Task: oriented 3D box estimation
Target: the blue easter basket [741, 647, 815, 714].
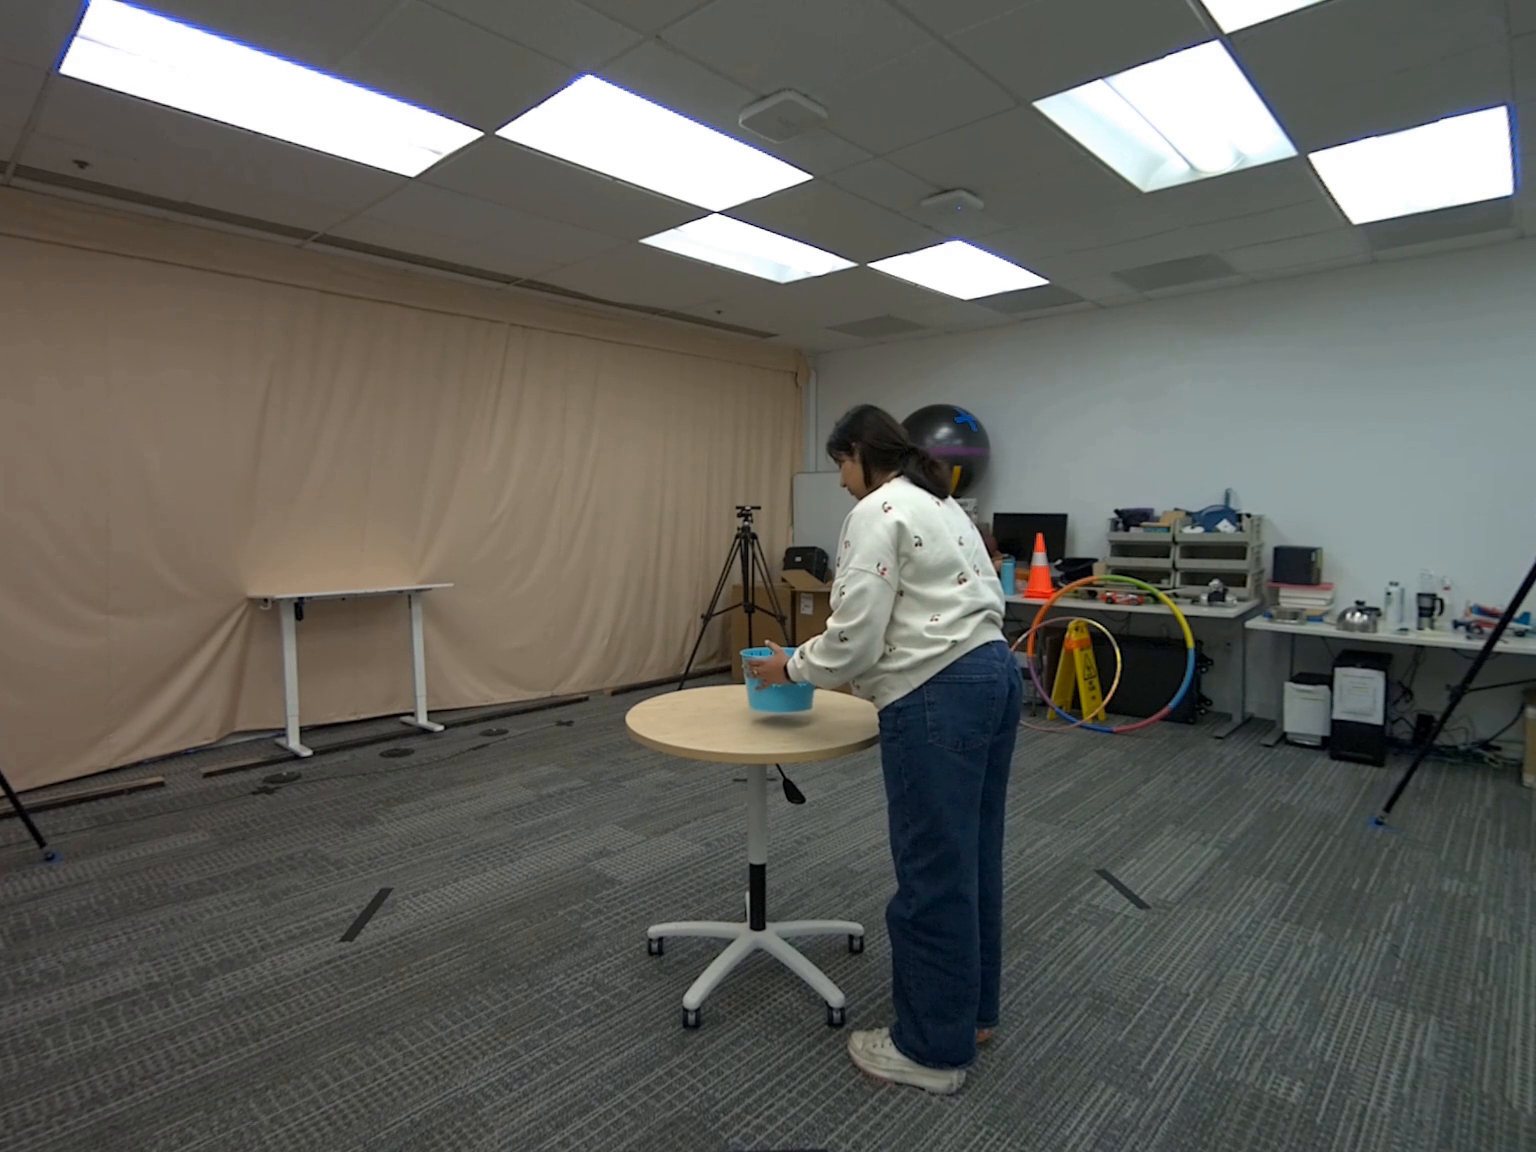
[{"bbox_3d":[0.048,0.298,2.373,0.243,0.155,0.244,0,4,-2],"label":"blue easter basket"}]
